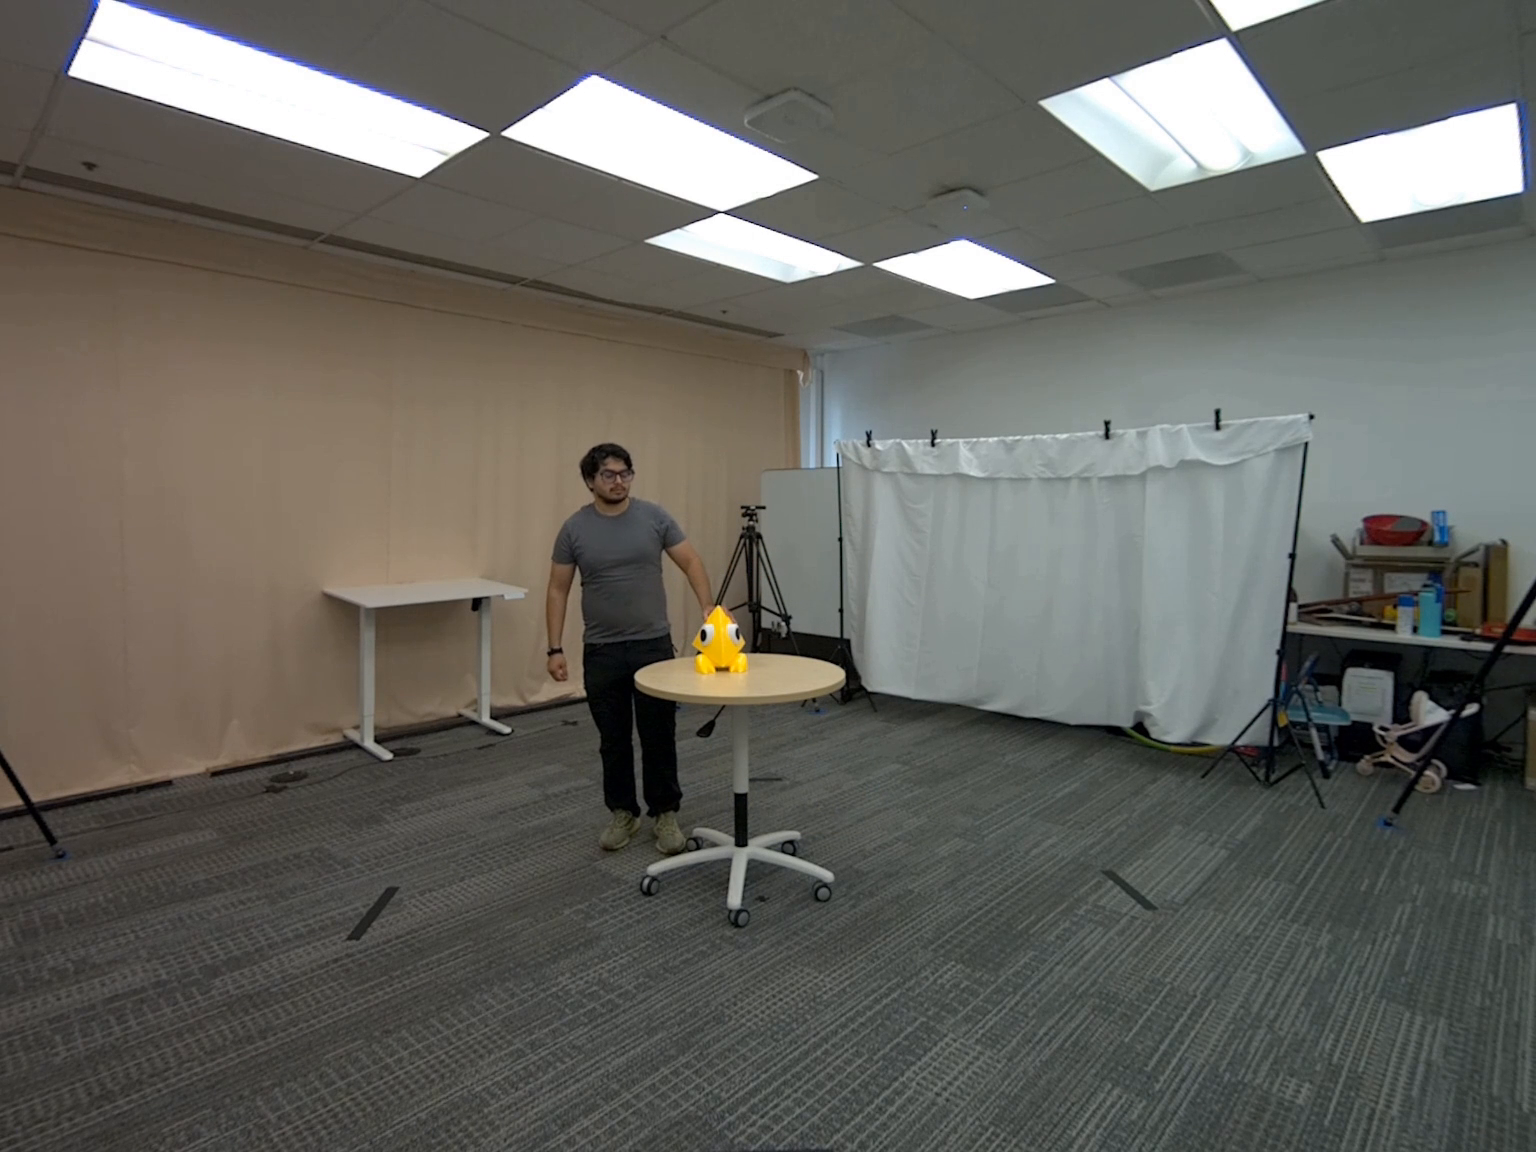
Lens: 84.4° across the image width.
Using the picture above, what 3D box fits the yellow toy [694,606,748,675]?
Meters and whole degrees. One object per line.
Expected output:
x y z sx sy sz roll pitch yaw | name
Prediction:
-0.175 0.231 3.154 0.203 0.230 0.195 0 3 -7 | yellow toy
